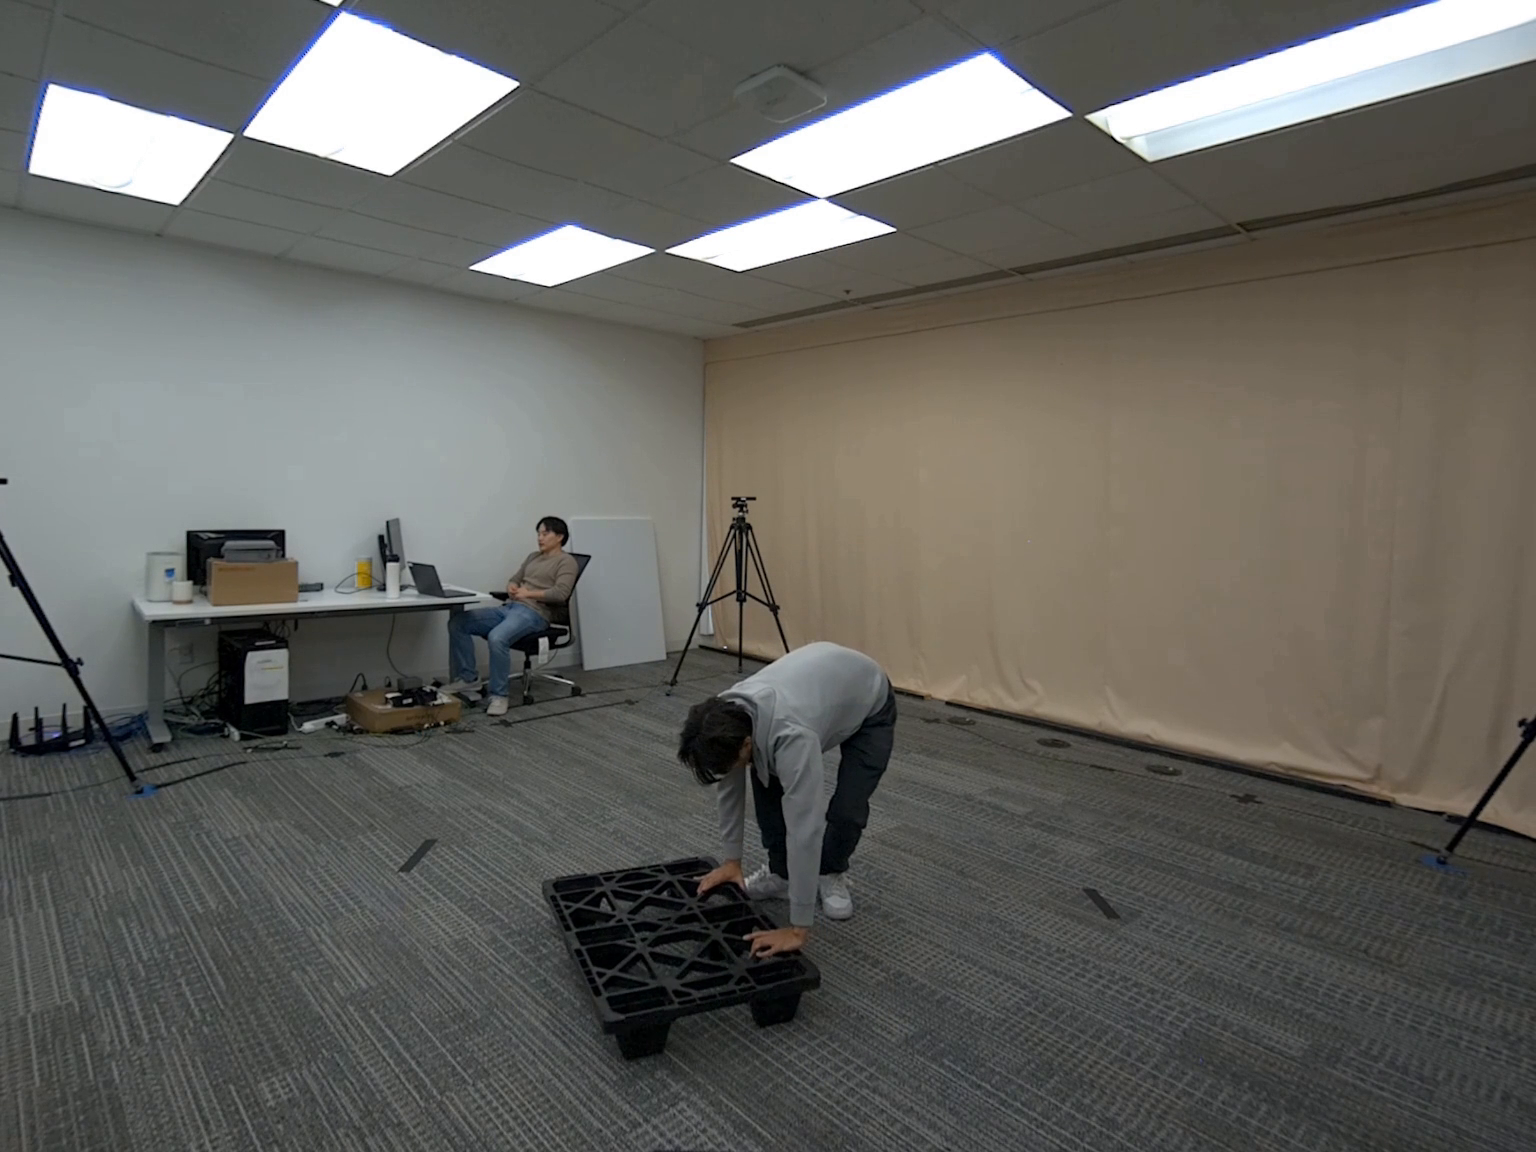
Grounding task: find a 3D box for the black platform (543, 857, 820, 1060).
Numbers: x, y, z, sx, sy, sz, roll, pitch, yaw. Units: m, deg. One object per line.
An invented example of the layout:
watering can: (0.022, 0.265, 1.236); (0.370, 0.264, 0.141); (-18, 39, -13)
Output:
black platform: (-0.302, 1.092, 2.480); (0.594, 0.143, 0.822); (-1, 6, -26)
